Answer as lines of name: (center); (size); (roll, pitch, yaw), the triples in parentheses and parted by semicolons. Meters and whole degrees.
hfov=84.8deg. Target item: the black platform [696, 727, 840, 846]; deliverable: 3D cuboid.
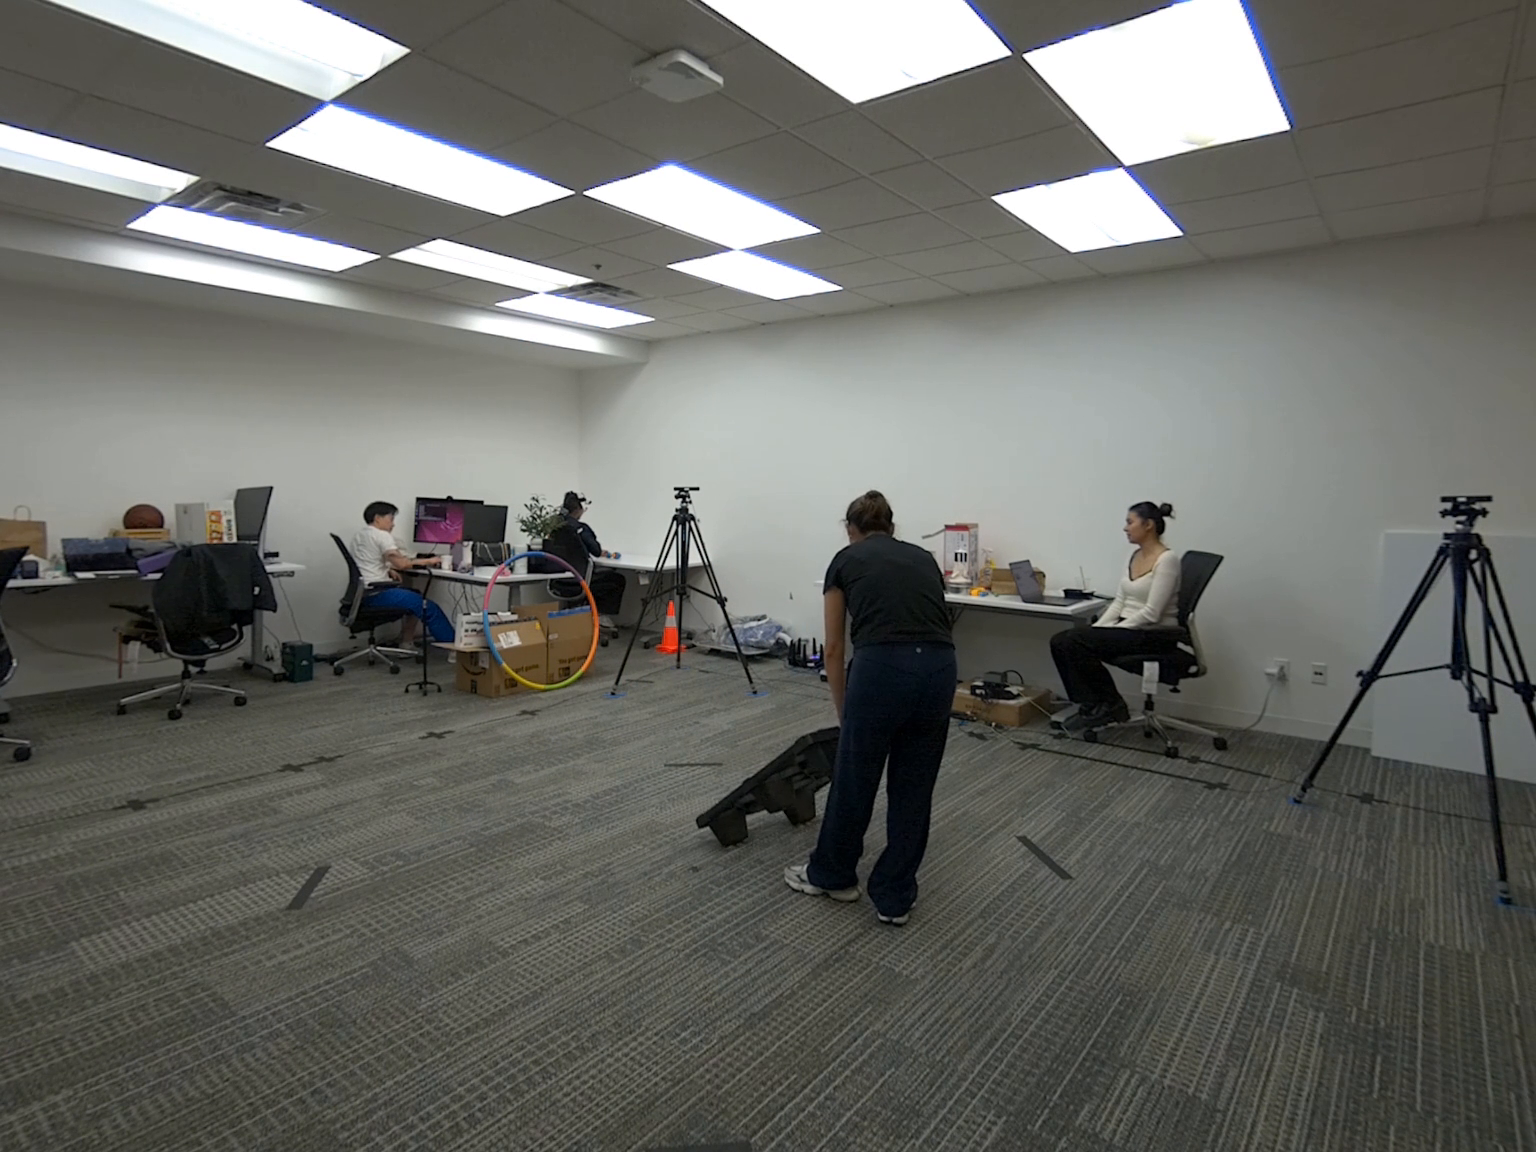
black platform: (0.179, 0.774, 3.249); (0.587, 0.148, 0.805); (-2, -32, -40)
